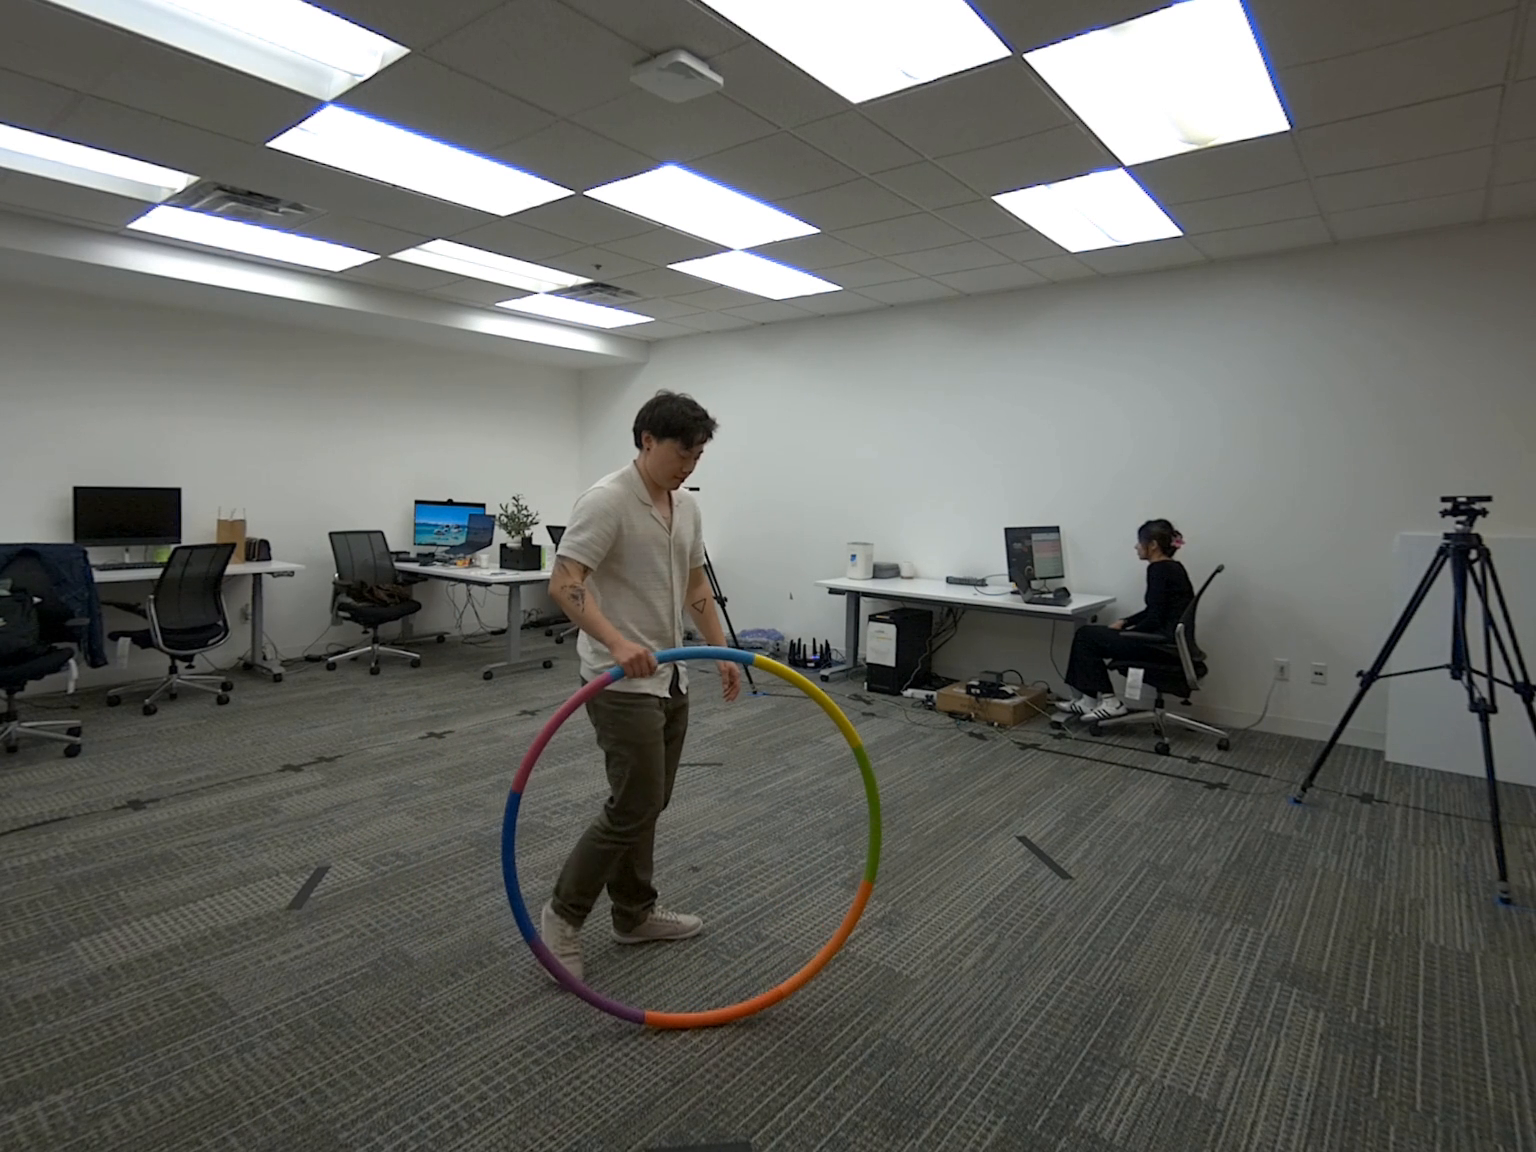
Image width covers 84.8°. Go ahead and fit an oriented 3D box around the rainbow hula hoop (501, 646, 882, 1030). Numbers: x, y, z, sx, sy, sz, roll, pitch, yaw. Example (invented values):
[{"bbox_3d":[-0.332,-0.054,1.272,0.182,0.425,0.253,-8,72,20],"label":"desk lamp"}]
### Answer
[{"bbox_3d":[-0.190,0.675,2.202,0.967,0.979,0.036,0,-1,-11],"label":"rainbow hula hoop"}]
